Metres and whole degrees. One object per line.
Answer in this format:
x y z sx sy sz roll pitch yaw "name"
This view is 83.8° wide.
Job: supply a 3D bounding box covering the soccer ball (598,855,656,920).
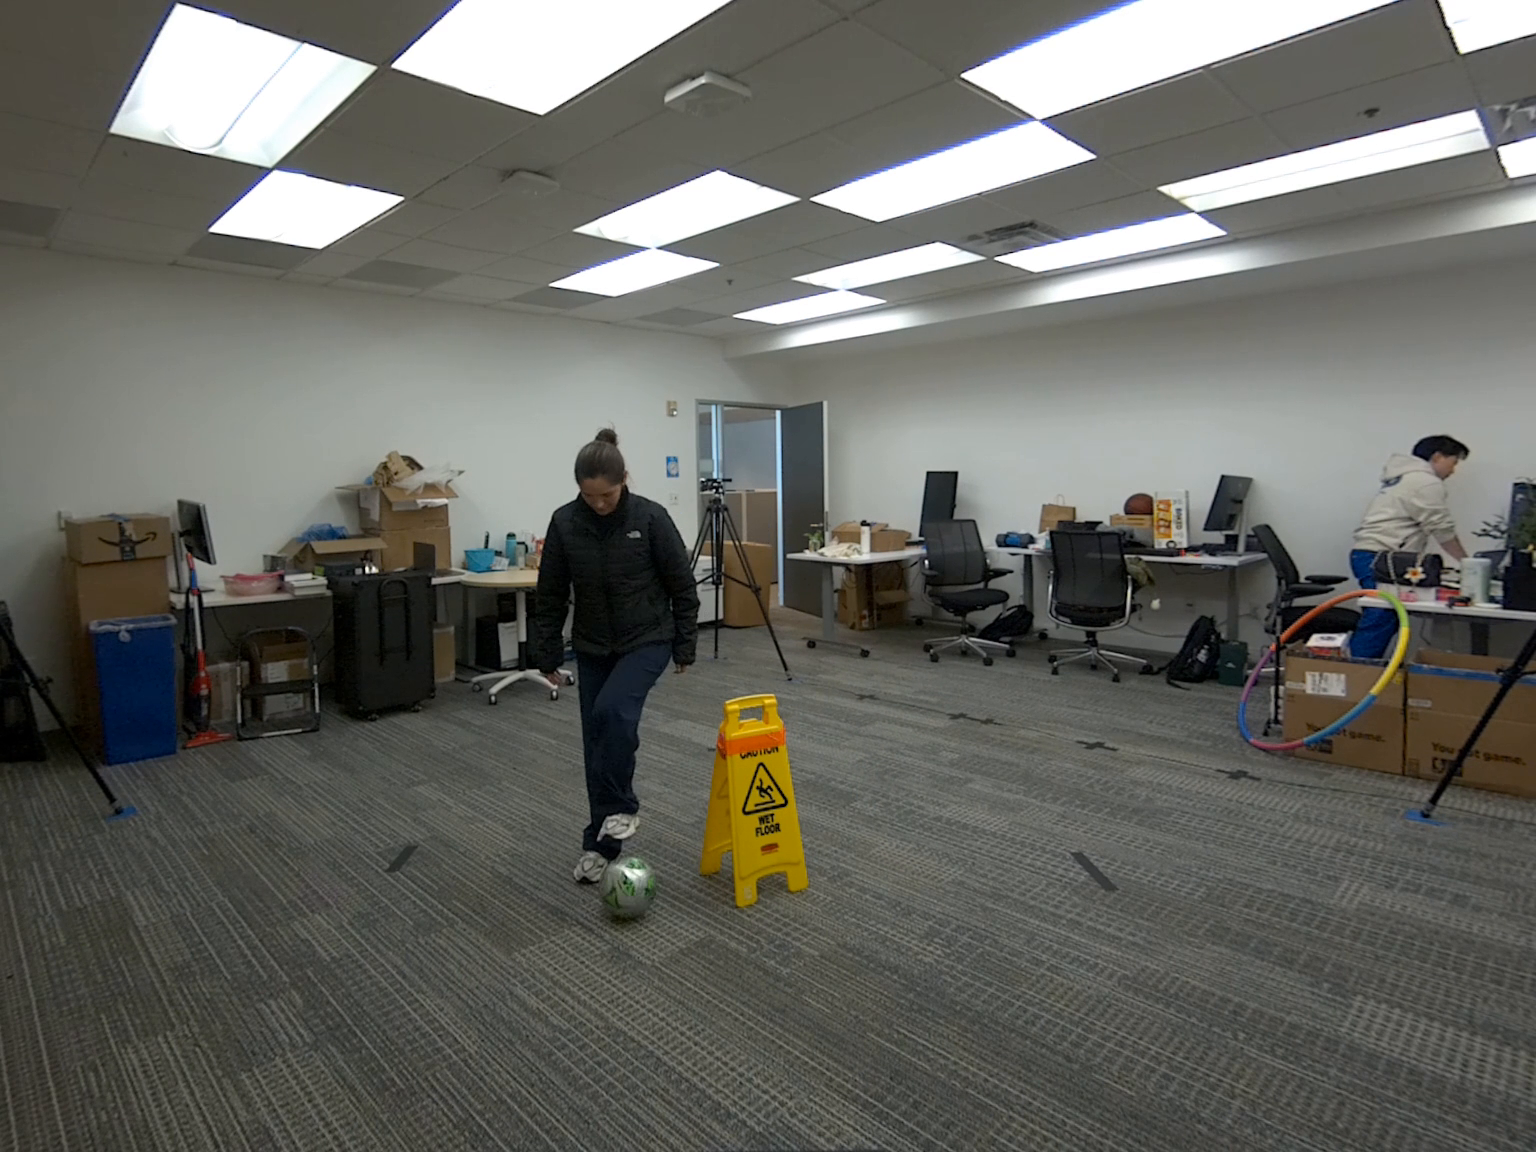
-0.445 1.001 2.753 0.187 0.187 0.188 -1 5 -2 "soccer ball"
